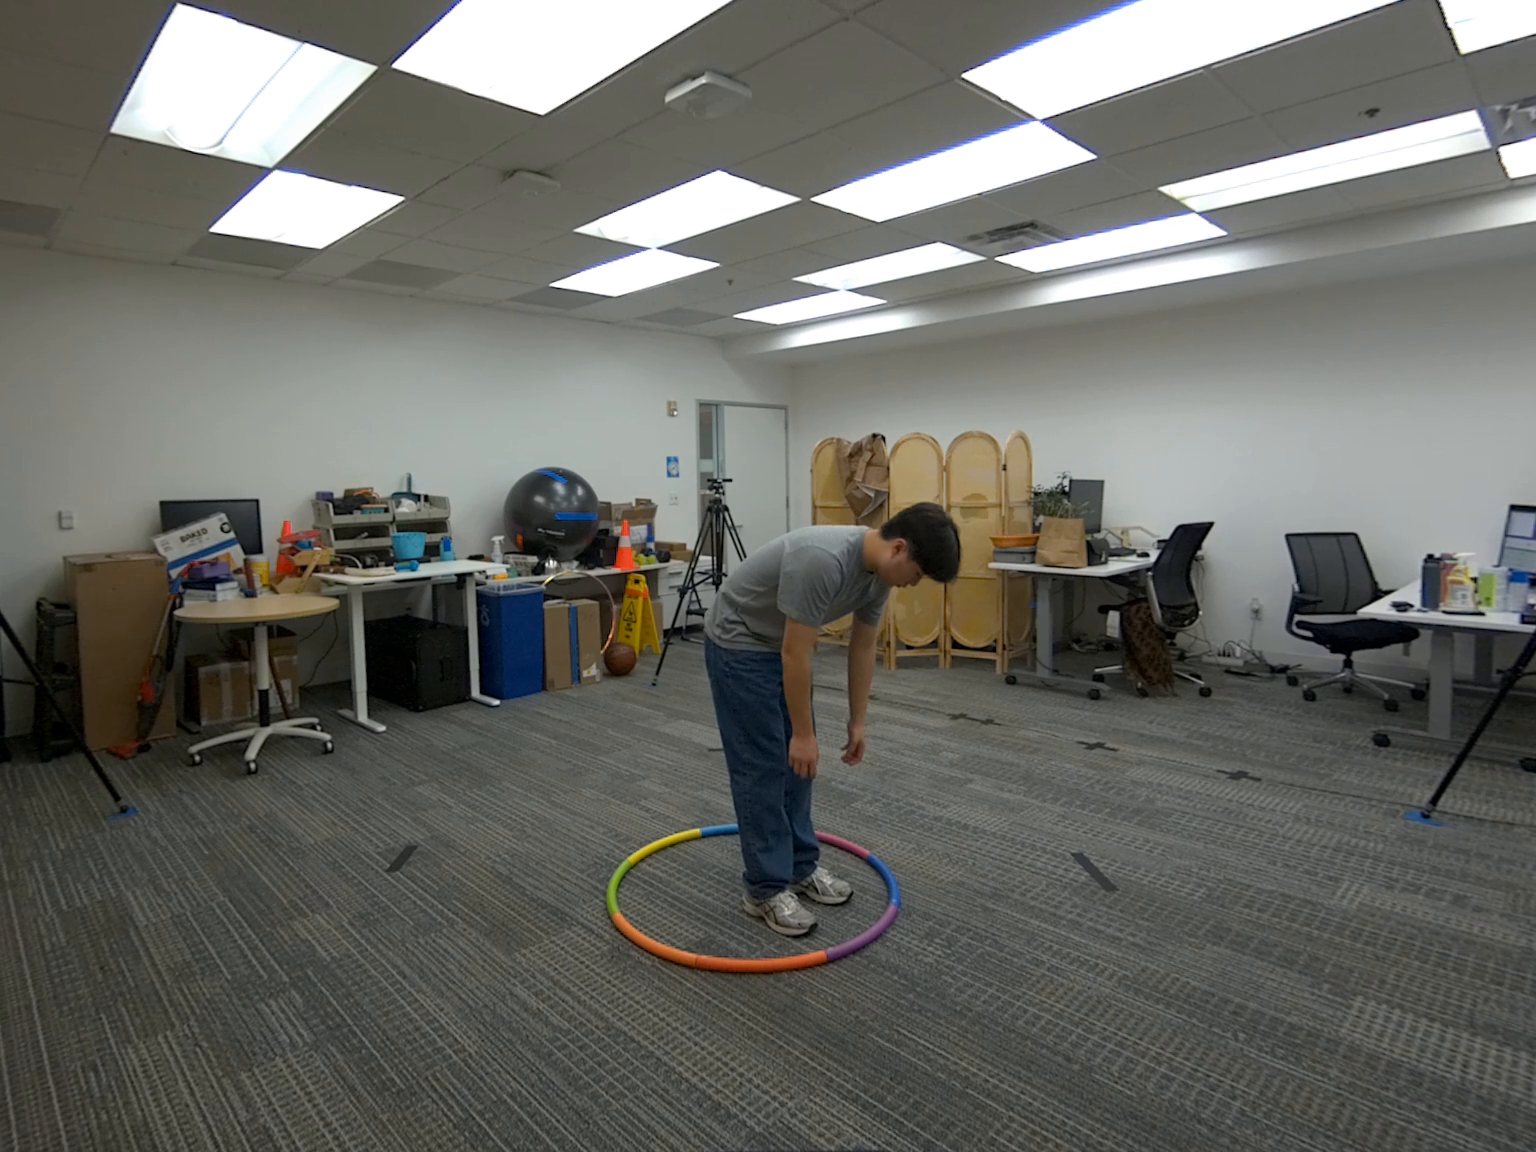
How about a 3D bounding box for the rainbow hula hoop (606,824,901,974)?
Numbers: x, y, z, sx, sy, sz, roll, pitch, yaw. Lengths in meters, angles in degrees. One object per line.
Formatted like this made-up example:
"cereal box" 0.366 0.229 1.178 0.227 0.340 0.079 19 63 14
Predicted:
"rainbow hula hoop" -0.054 1.040 2.899 0.978 0.035 0.984 -1 7 -2
